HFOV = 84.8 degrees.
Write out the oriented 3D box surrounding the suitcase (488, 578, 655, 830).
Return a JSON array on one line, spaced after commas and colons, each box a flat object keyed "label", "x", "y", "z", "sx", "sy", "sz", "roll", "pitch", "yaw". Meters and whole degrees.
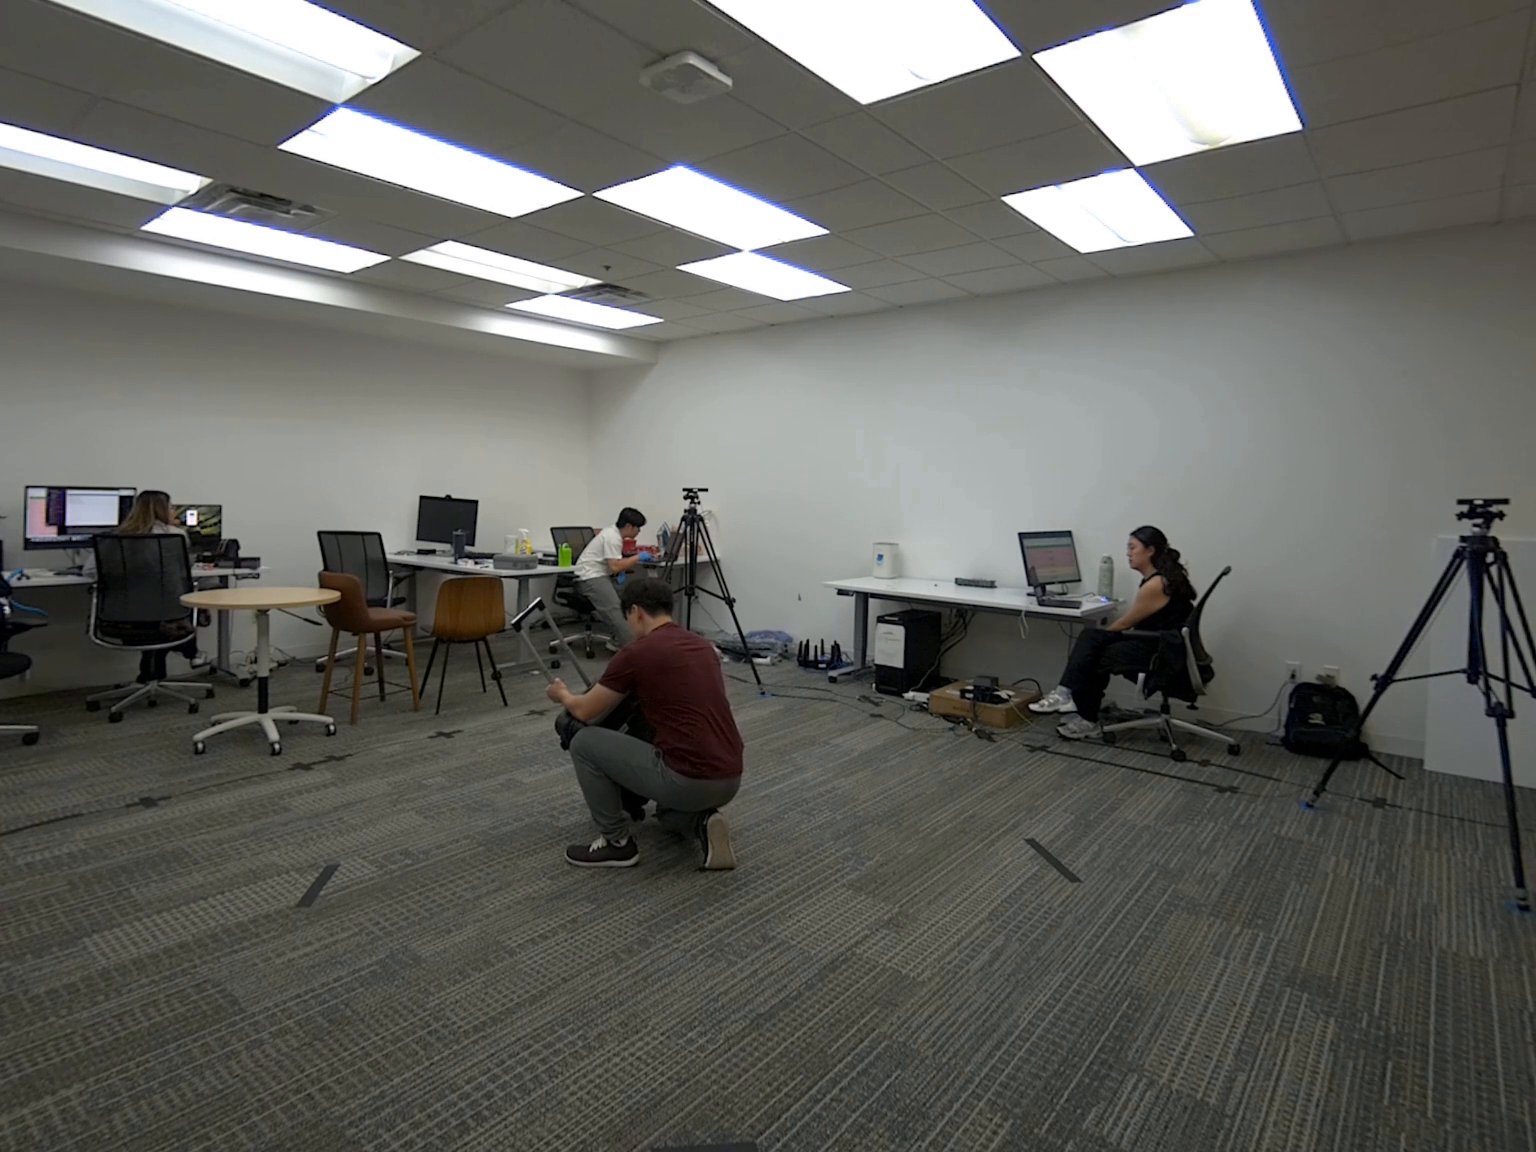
[{"label": "suitcase", "x": -0.703, "y": 0.528, "z": 3.457, "sx": 0.266, "sy": 0.948, "sz": 0.382, "roll": 8, "pitch": 41, "yaw": 45}]
